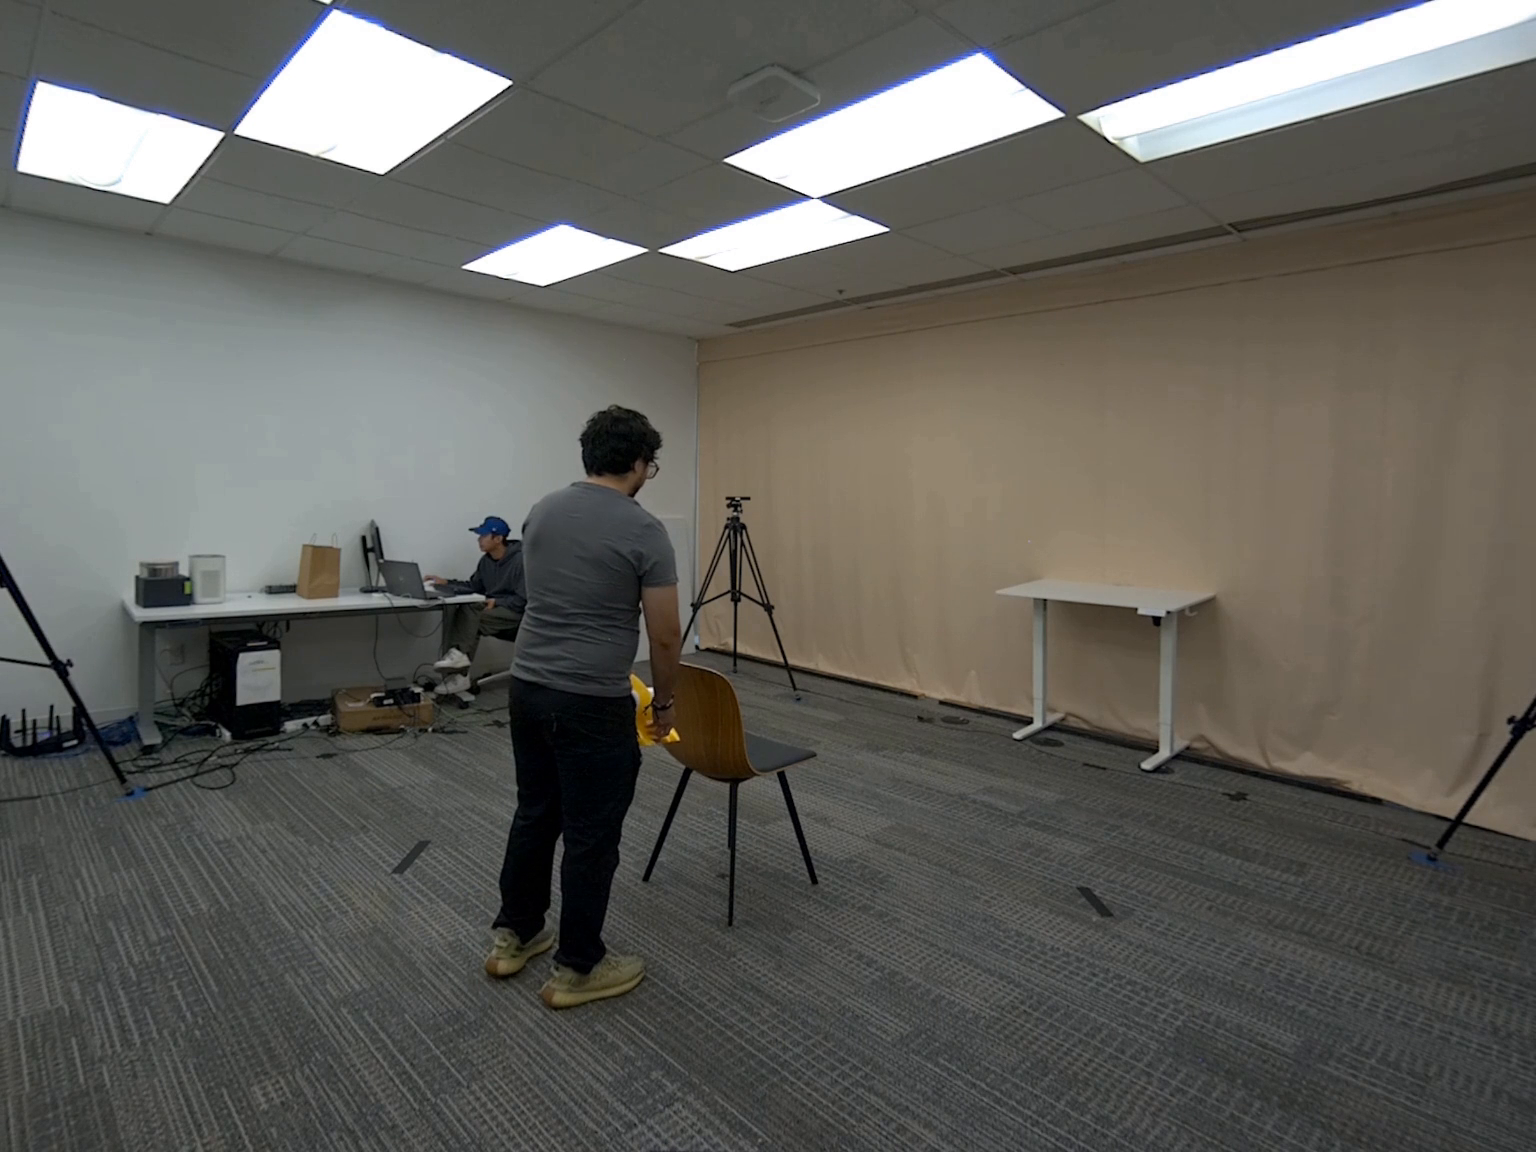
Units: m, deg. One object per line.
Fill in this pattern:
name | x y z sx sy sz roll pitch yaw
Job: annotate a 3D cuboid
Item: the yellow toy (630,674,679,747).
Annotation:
yellow toy | -0.399 0.405 2.561 0.196 0.232 0.199 -12 -12 37
